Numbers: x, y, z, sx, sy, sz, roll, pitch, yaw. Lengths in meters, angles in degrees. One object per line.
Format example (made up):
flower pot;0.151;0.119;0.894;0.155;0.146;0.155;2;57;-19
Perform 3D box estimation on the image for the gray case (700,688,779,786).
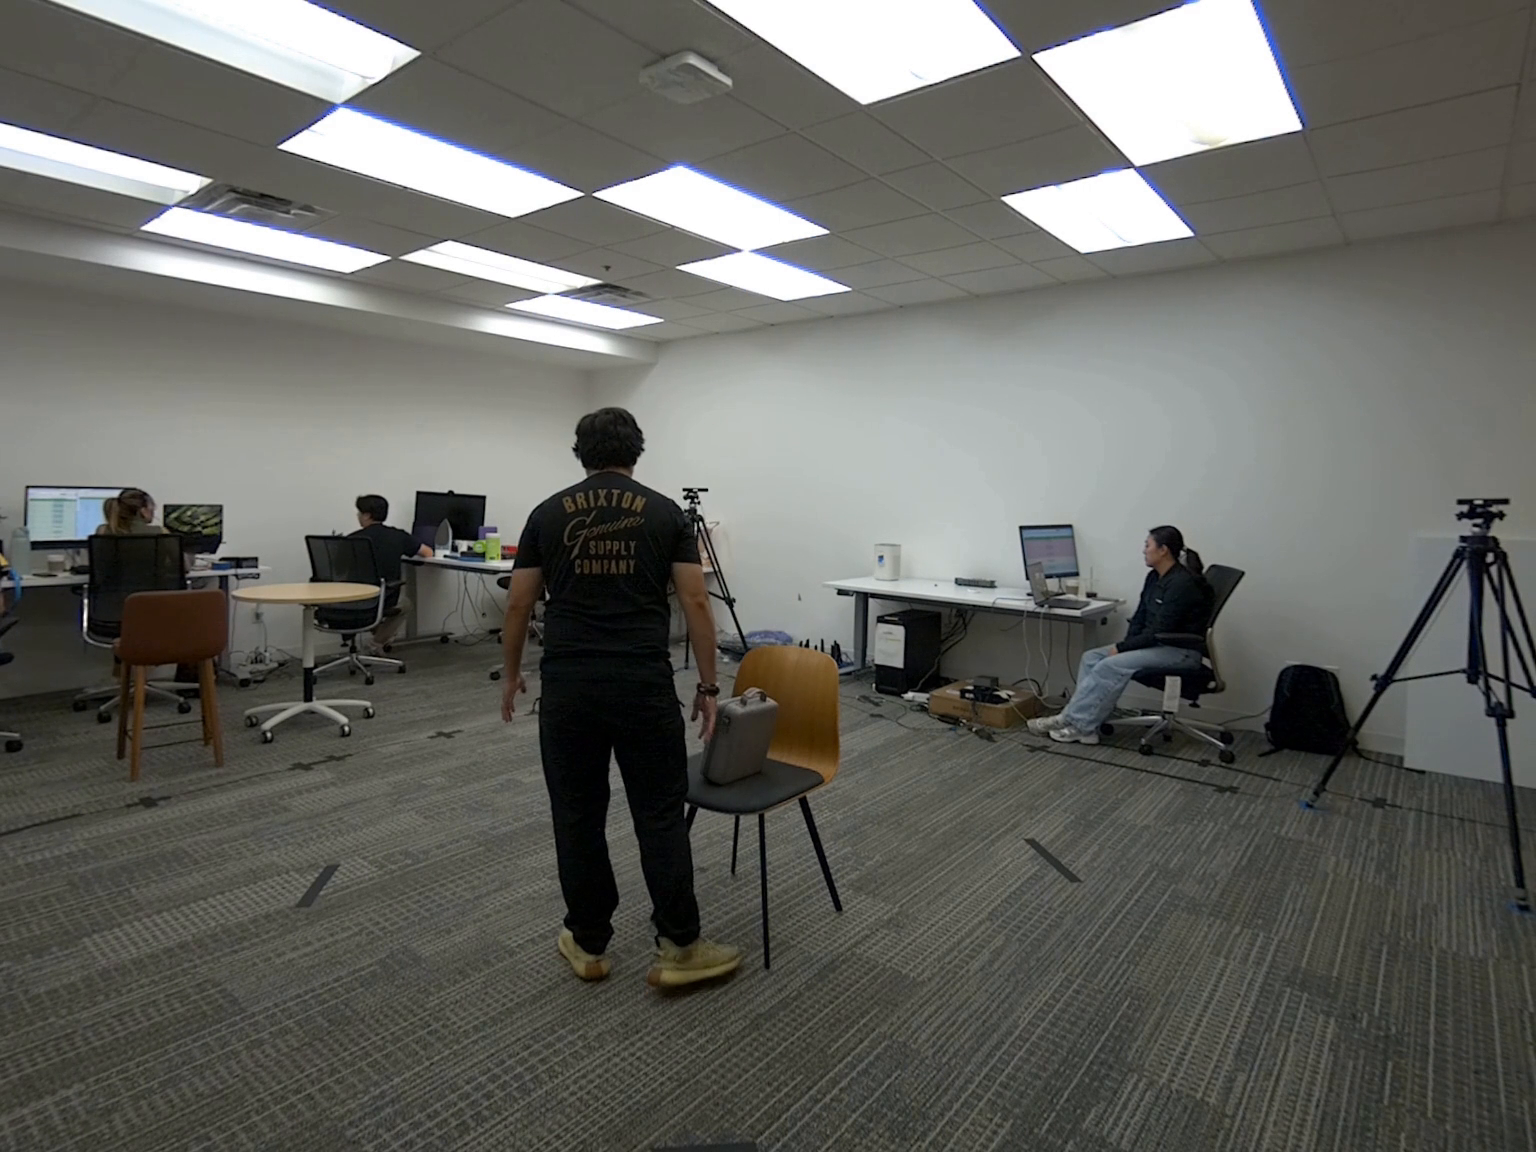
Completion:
gray case;-0.094;0.511;2.689;0.108;0.259;0.249;19;10;34
